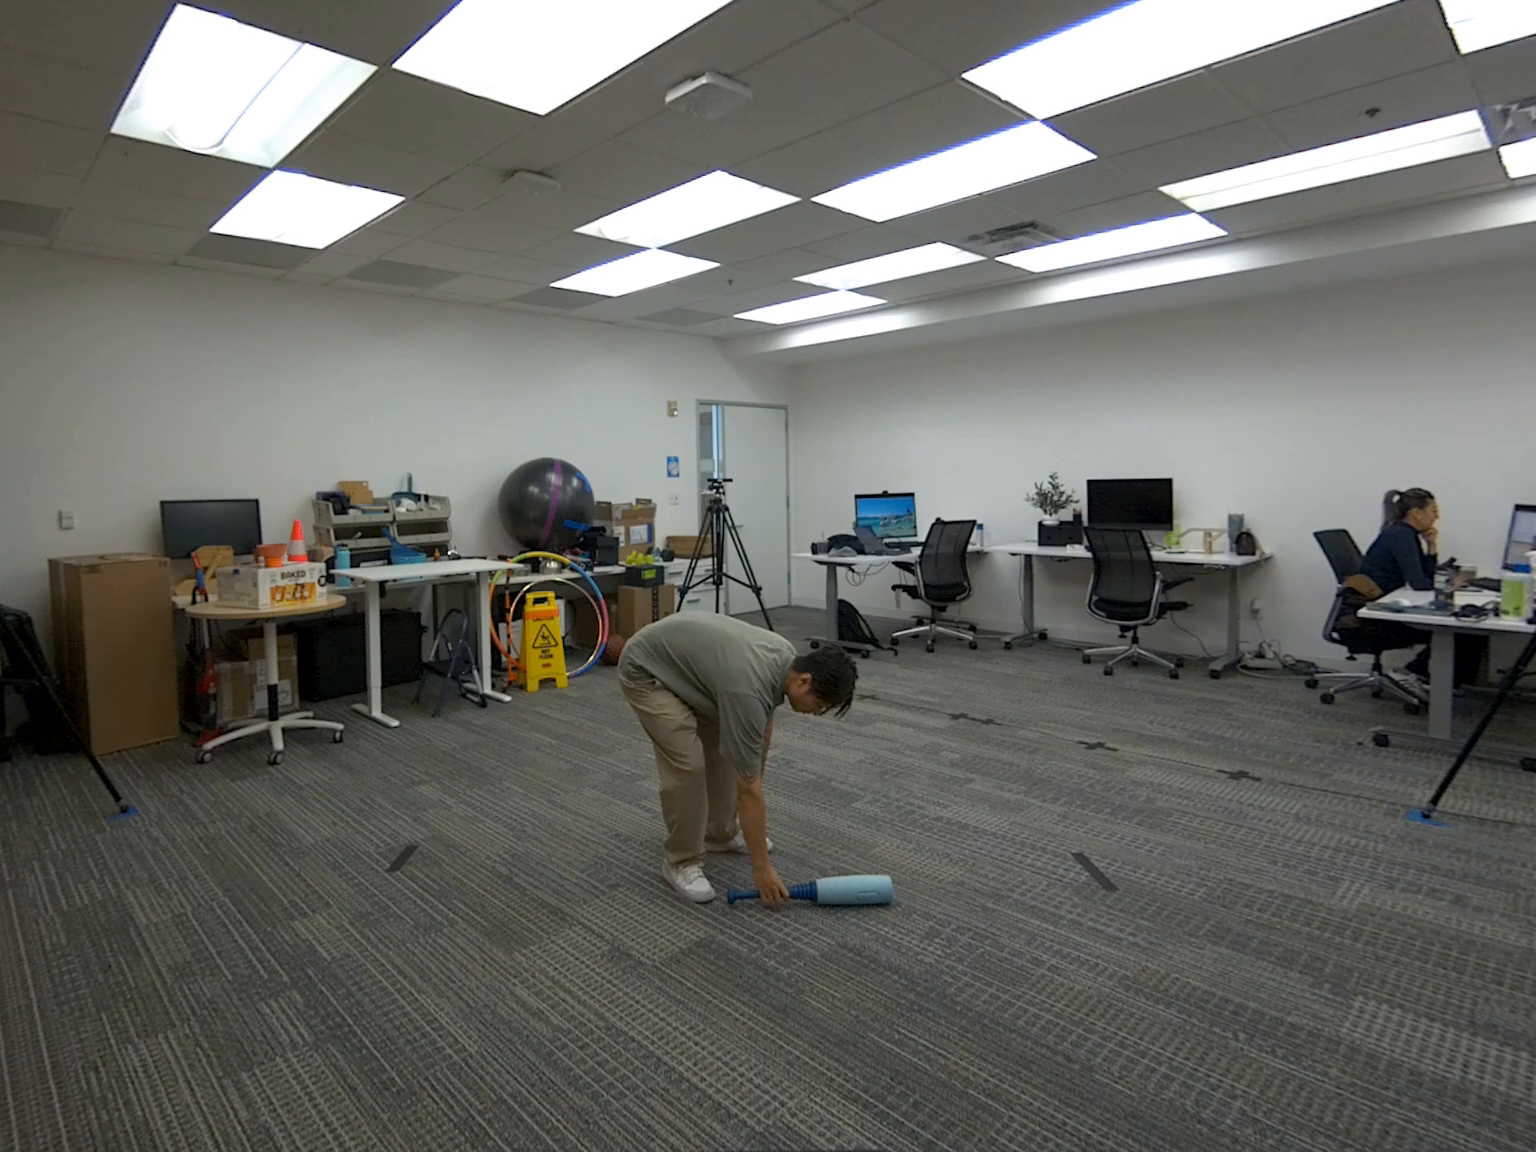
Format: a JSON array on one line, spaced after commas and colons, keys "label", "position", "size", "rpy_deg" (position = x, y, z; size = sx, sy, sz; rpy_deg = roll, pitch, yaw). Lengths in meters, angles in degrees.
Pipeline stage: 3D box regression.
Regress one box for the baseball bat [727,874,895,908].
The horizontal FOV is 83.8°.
[{"label": "baseball bat", "position": [0.139, 1.024, 2.792], "size": [0.542, 0.089, 0.089], "rpy_deg": [-3, 5, -2]}]
